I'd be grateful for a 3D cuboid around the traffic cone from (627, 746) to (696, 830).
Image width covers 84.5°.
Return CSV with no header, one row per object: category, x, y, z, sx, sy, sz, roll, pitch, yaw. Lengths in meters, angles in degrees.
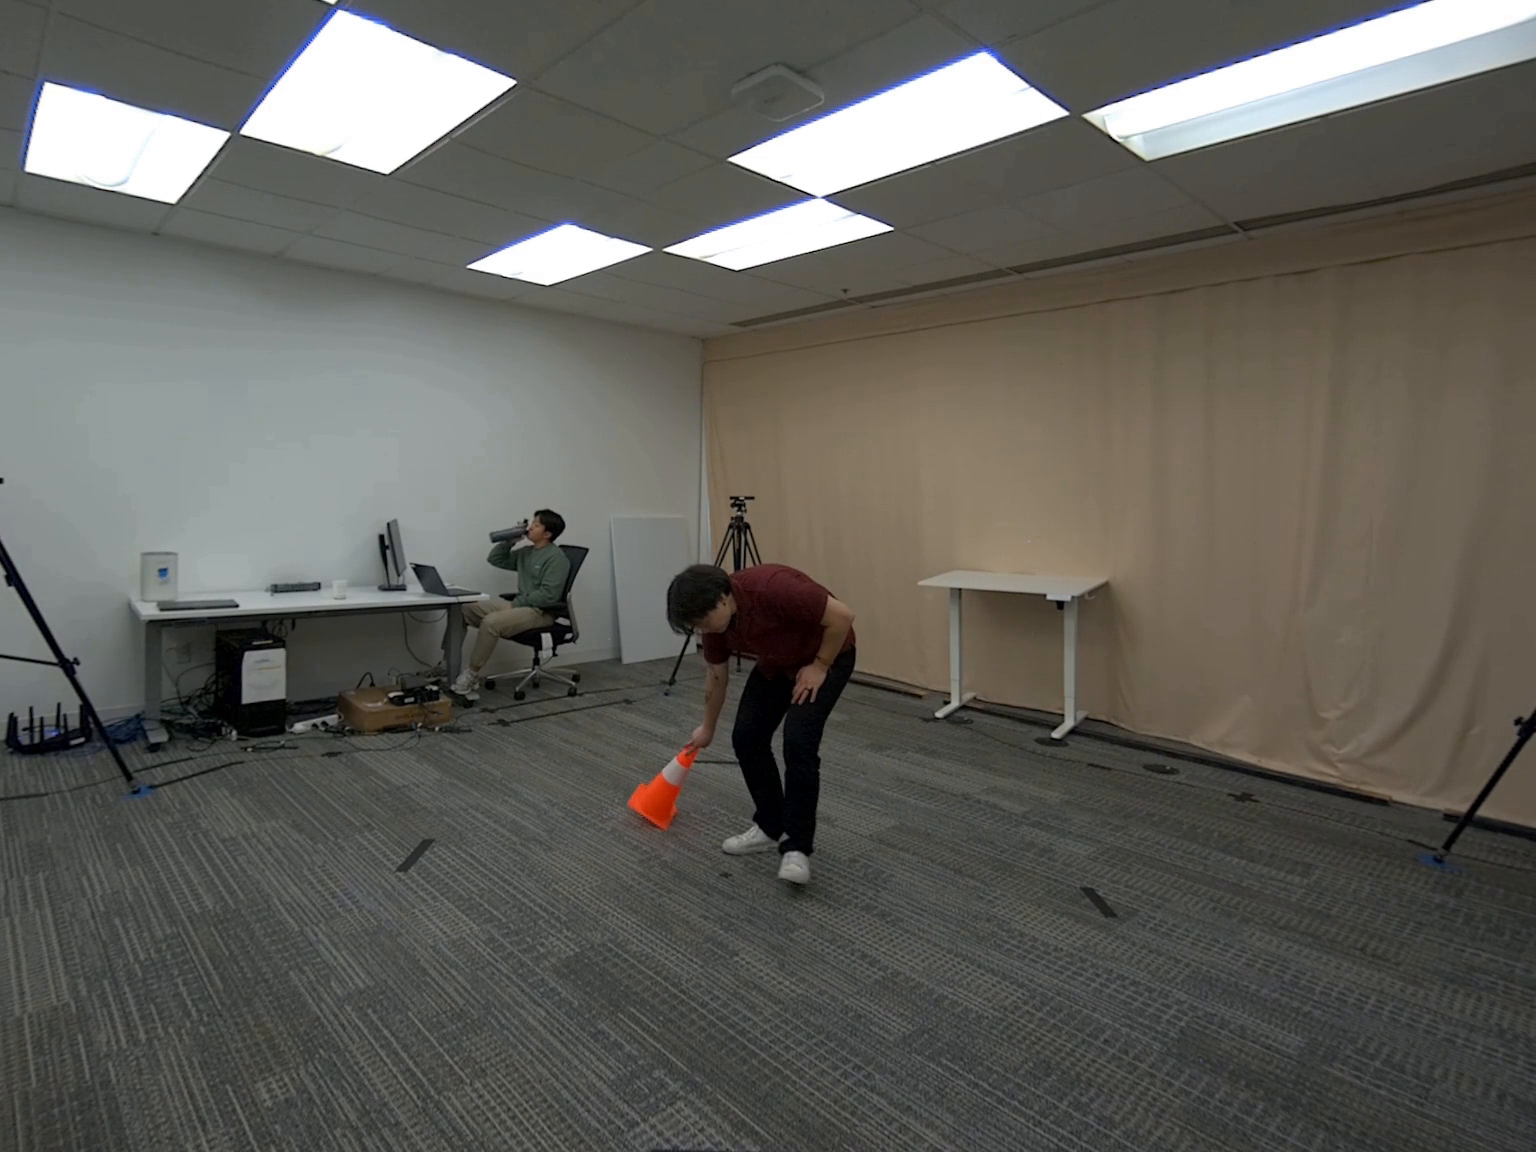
traffic cone,-0.403,0.843,3.579,0.203,0.383,0.205,34,12,0
